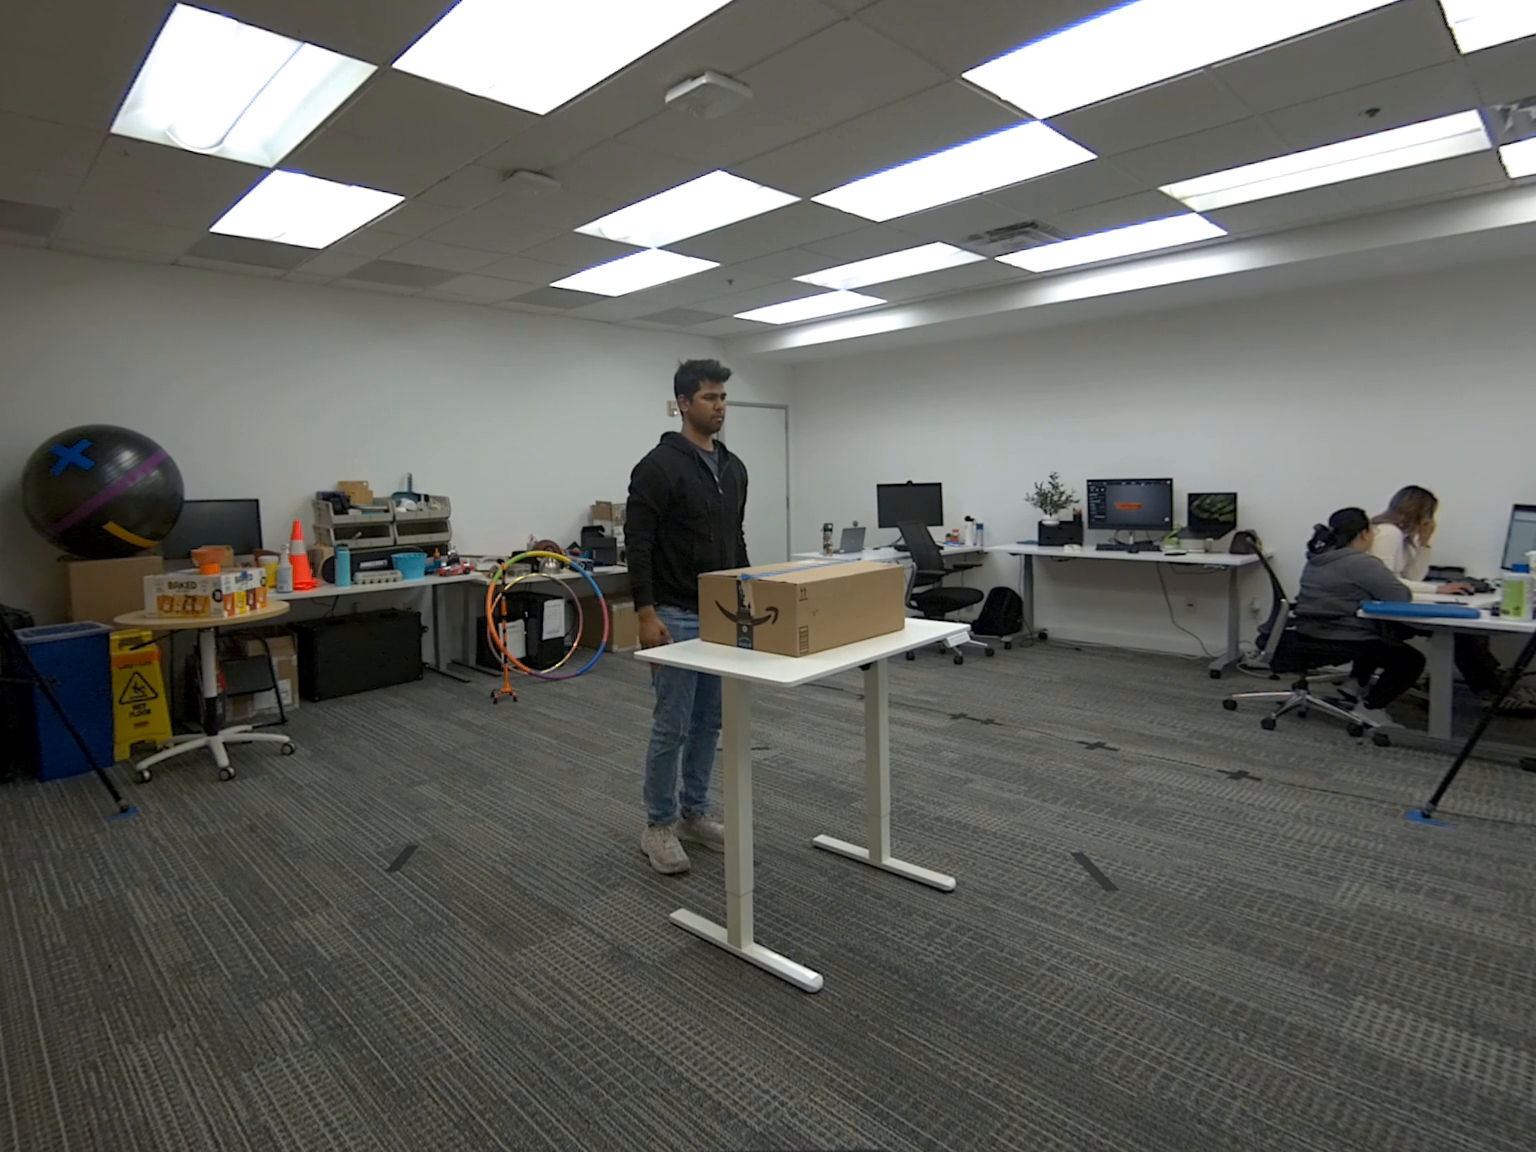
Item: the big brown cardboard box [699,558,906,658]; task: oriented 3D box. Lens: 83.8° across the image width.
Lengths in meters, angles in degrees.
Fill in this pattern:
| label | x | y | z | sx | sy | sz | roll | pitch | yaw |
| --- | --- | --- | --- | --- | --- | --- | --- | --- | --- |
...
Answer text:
| label | x | y | z | sx | sy | sz | roll | pitch | yaw |
| --- | --- | --- | --- | --- | --- | --- | --- | --- | --- |
| big brown cardboard box | 0.118 | 0.082 | 2.797 | 0.430 | 0.232 | 0.574 | 4 | 9 | 43 |
